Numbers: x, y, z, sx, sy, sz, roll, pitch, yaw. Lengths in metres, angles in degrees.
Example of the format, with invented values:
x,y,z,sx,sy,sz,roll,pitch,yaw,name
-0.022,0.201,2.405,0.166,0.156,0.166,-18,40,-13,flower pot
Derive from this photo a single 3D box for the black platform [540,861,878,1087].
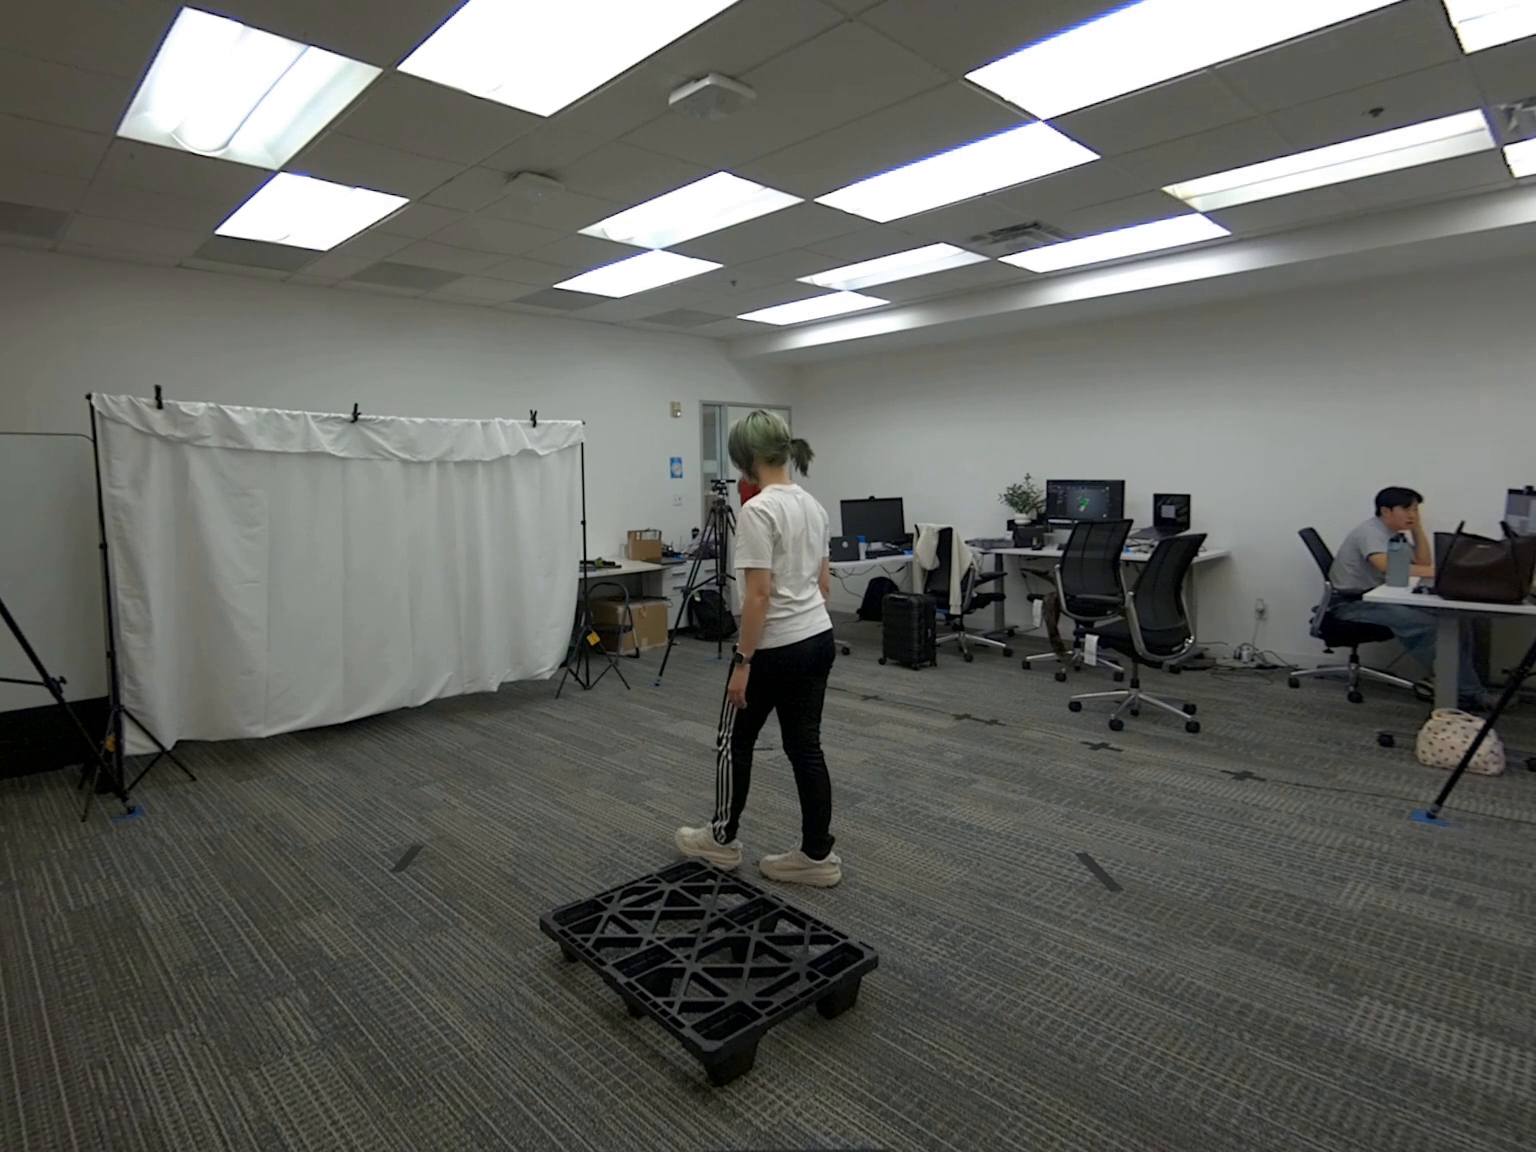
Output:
x,y,z,sx,sy,sz,roll,pitch,yaw,name
-0.184,1.070,2.401,0.589,0.142,0.831,-7,9,-41,black platform
